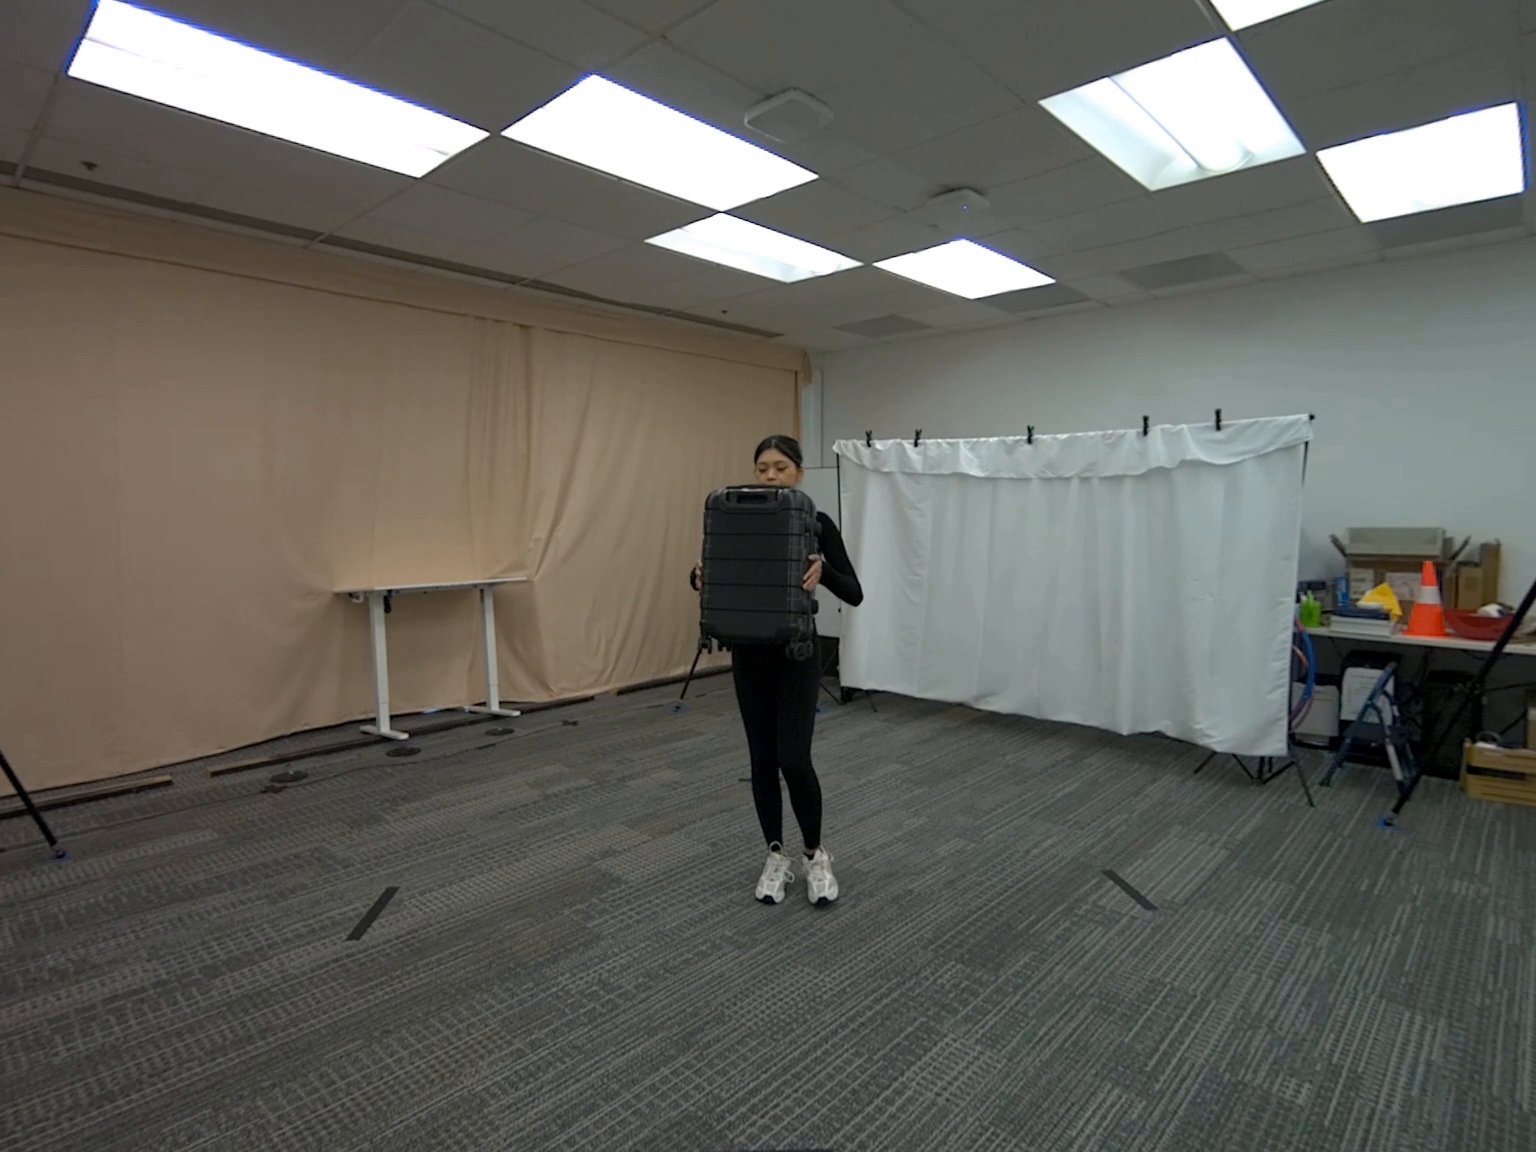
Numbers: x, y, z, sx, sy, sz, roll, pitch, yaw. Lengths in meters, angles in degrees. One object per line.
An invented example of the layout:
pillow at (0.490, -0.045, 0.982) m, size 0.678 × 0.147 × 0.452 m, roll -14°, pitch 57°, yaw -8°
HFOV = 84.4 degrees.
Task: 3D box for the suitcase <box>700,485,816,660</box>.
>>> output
suitcase at (-0.031, -0.020, 2.771) m, size 0.383 × 0.551 × 0.242 m, roll 0°, pitch -4°, yaw 20°
